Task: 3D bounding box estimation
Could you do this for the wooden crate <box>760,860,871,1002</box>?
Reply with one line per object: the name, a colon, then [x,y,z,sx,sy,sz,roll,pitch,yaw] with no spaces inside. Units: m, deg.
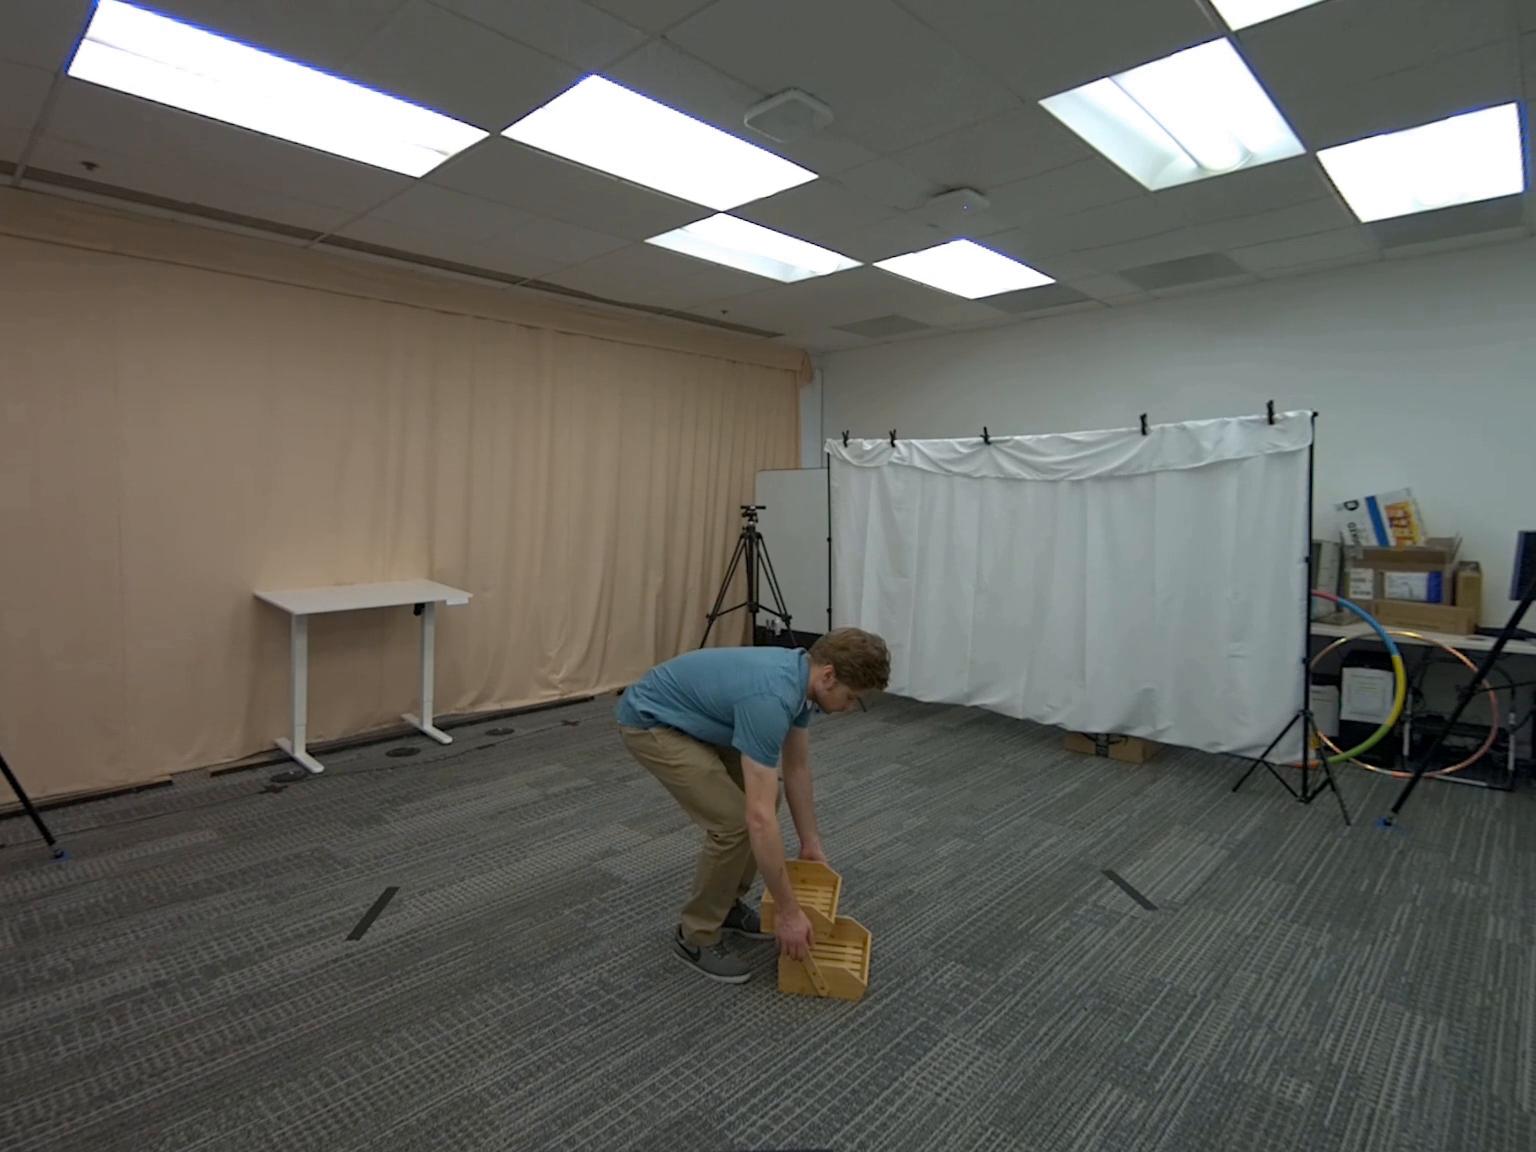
wooden crate: [0.159,1.054,2.527,0.306,0.273,0.321,1,4,11]
